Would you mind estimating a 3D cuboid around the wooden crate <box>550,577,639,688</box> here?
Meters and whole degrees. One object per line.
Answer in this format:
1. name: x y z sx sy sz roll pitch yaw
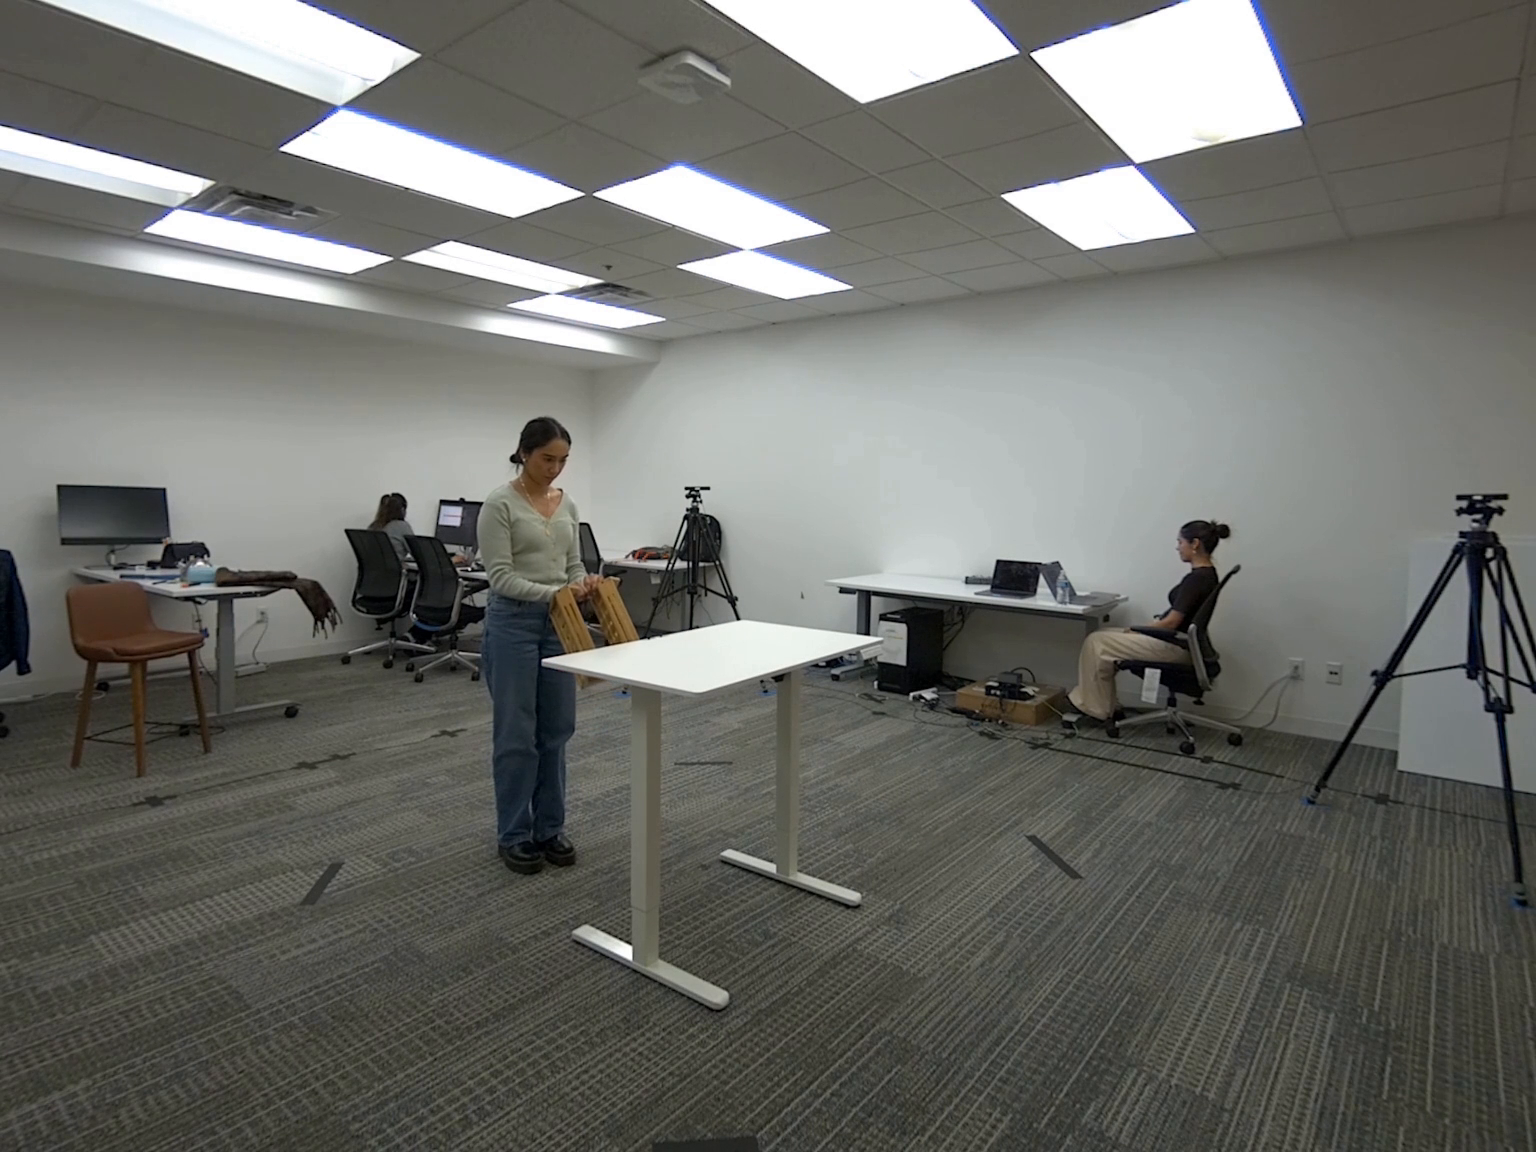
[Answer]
1. wooden crate: -0.575 0.175 2.923 0.269 0.330 0.301 -20 -13 -24
